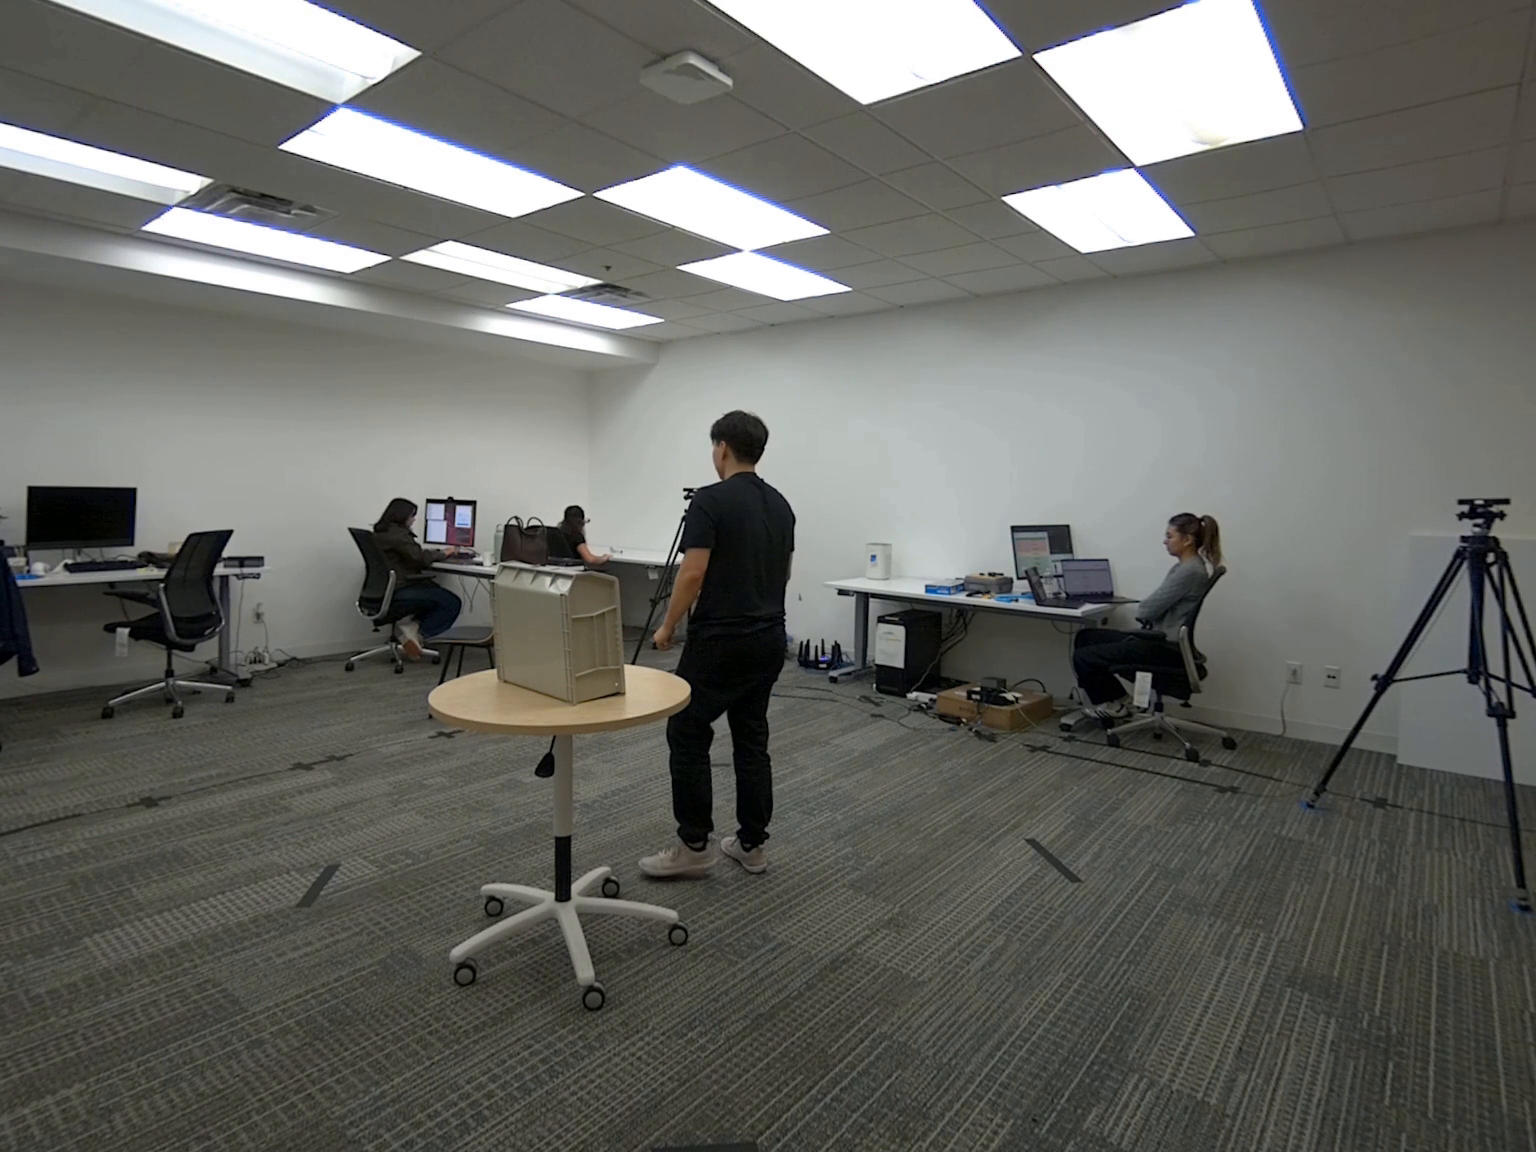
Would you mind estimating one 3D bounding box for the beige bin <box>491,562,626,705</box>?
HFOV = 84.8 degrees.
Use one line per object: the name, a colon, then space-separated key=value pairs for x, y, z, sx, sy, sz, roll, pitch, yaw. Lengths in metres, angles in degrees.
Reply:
beige bin: x=-0.644 y=0.155 z=2.535 sx=0.437 sy=0.375 sz=0.184 roll=6 pitch=10 yaw=43
